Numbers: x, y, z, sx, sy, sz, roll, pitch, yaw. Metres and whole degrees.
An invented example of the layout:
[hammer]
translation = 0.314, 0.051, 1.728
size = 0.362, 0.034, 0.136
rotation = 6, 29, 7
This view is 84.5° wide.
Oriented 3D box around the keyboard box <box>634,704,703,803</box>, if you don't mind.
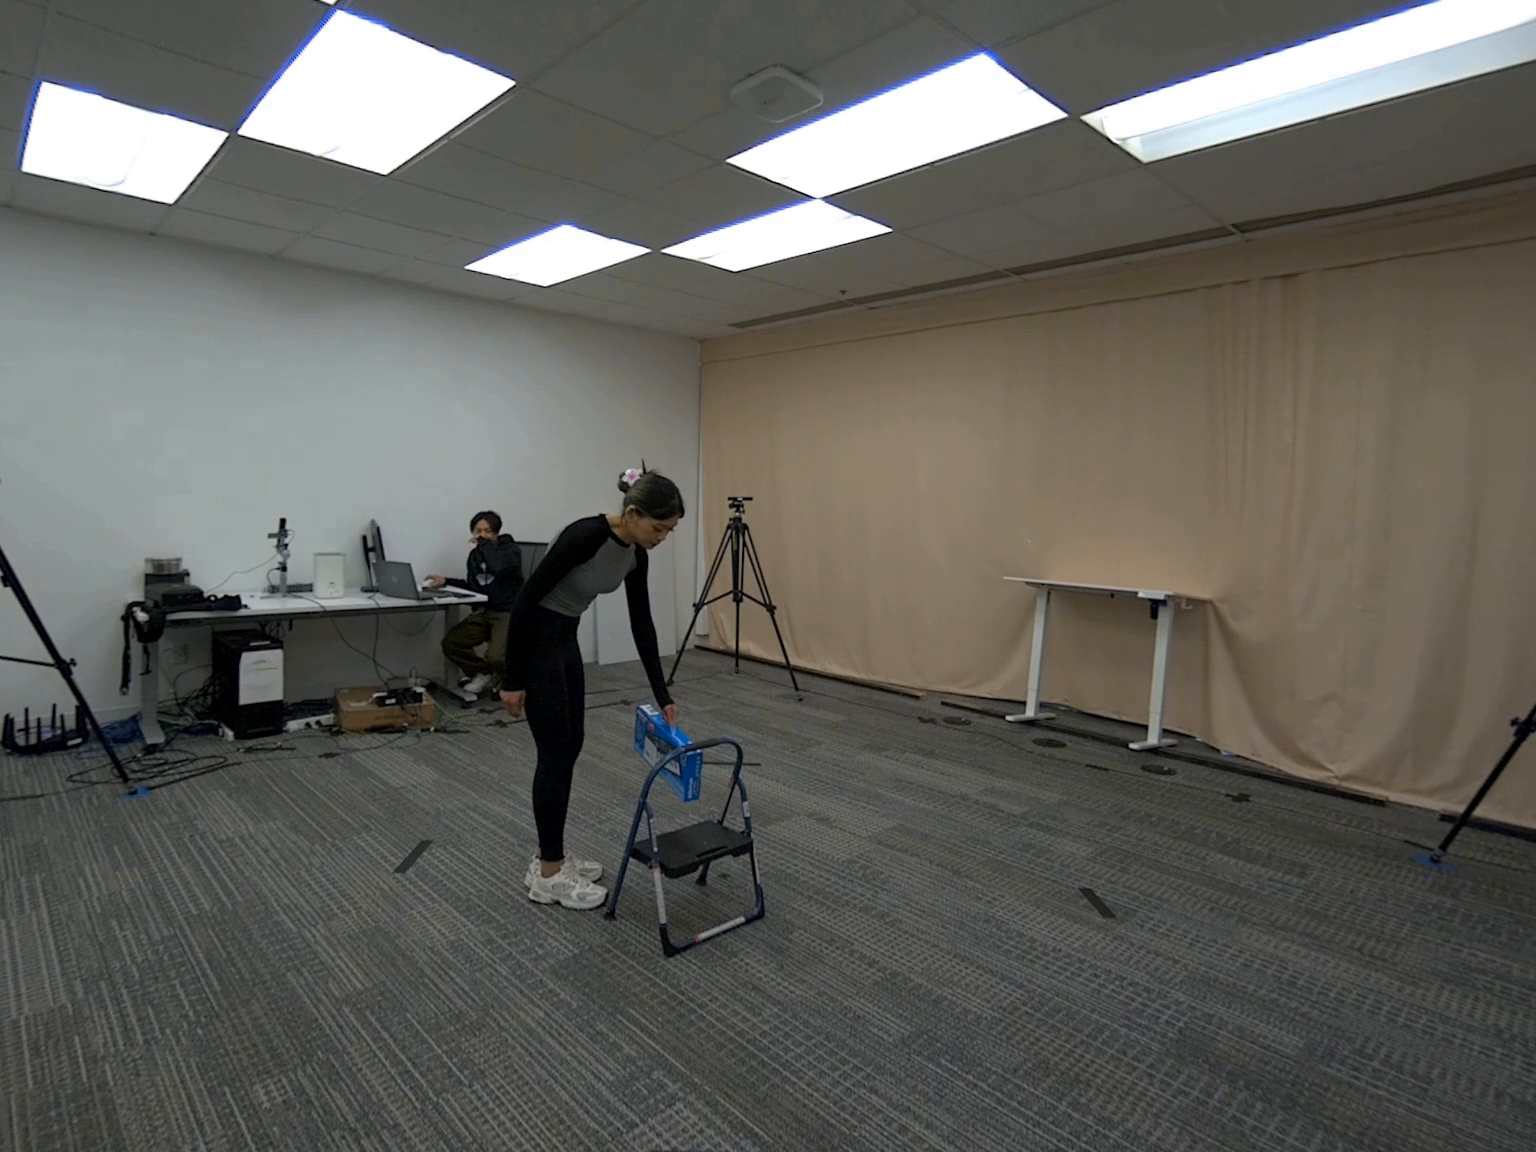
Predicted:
[keyboard box]
translation = -0.366, 0.615, 2.959
size = 0.058, 0.174, 0.449
rotation = -1, 14, -31
